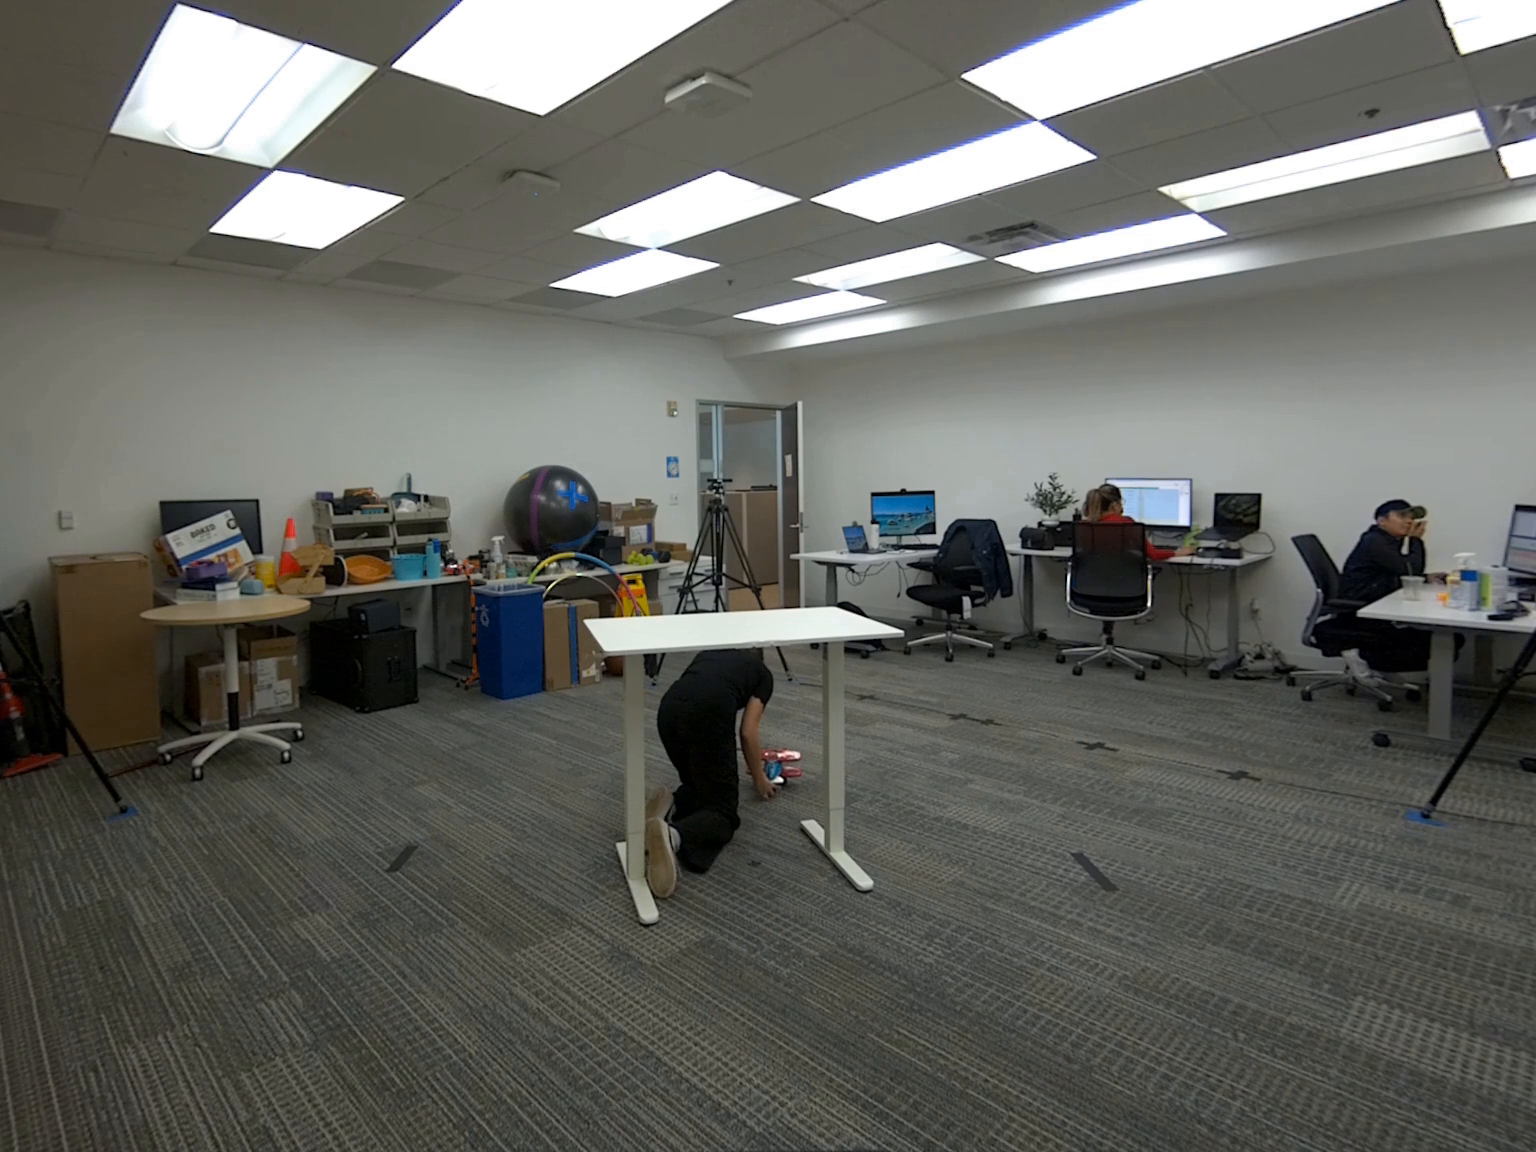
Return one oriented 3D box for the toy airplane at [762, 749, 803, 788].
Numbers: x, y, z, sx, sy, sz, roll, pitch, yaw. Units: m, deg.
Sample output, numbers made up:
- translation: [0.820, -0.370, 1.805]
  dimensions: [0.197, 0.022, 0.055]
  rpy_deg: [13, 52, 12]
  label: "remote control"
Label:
- translation: [0.041, 0.879, 3.855]
  dimensions: [0.246, 0.157, 0.263]
  rpy_deg: [0, -2, -20]
  label: "toy airplane"
